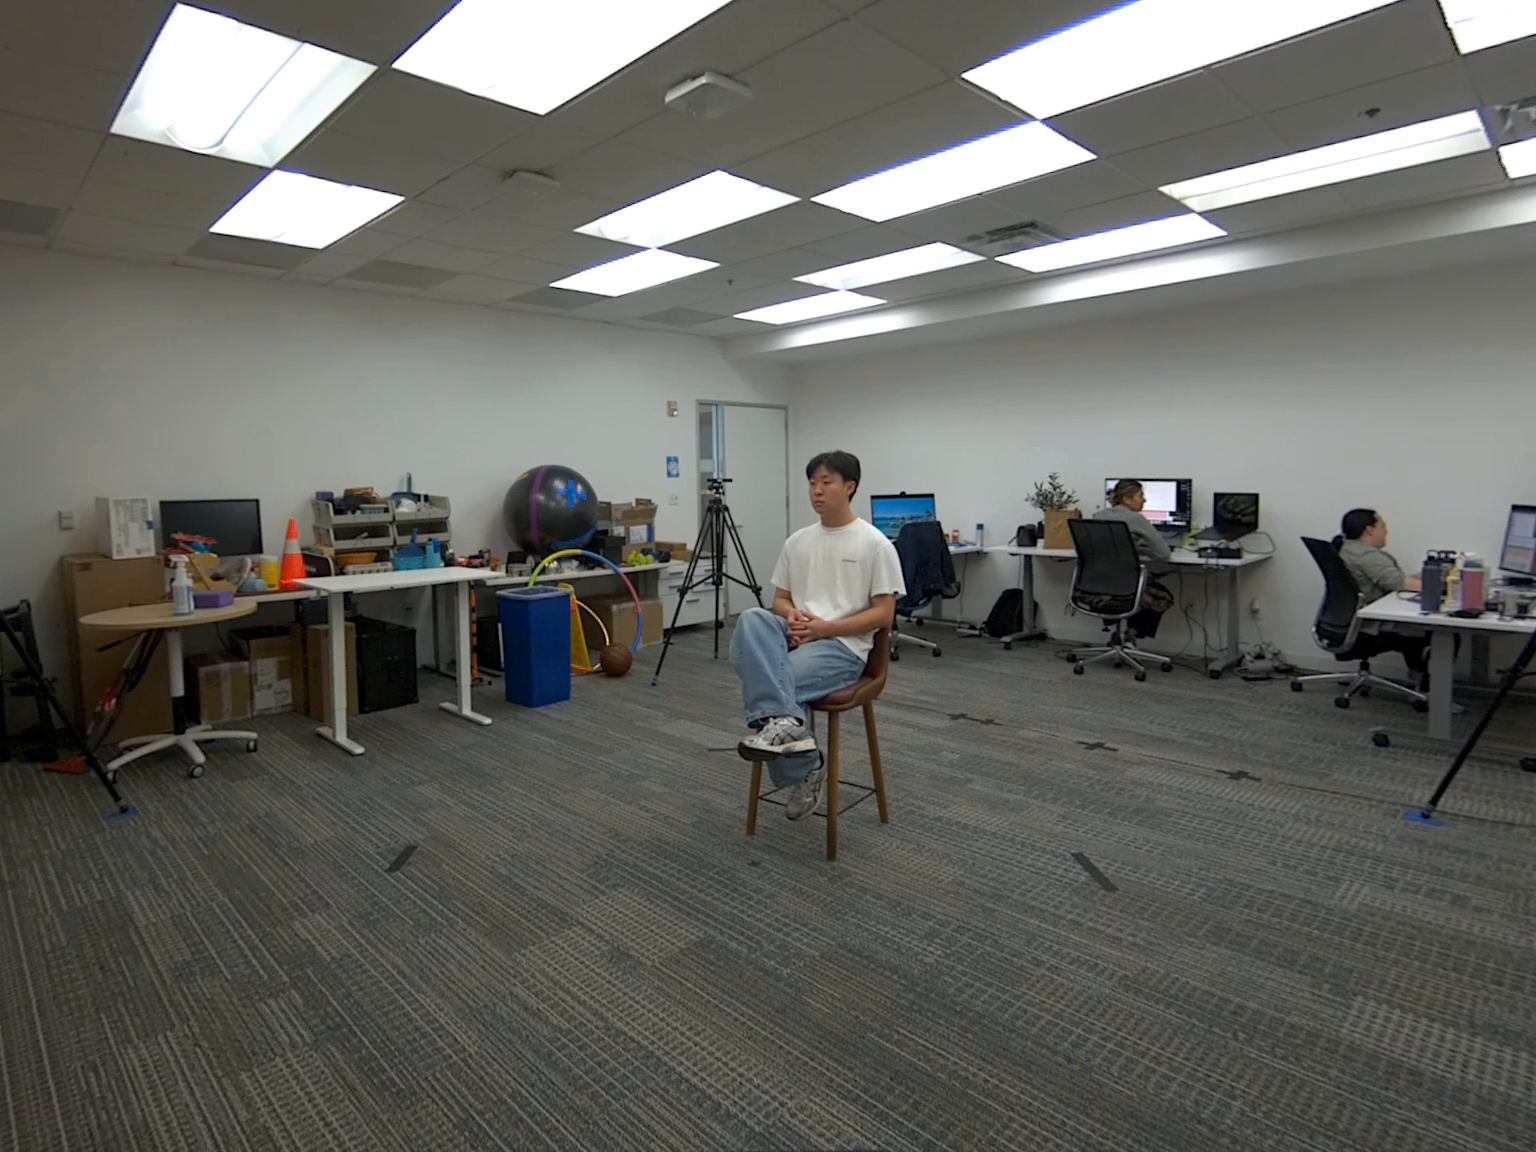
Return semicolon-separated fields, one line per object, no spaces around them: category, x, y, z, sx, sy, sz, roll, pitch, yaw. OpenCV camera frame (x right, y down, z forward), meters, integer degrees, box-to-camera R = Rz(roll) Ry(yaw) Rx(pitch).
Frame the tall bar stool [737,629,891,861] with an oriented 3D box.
tall bar stool;0.215;0.576;3.392;0.470;0.888;0.455;4;3;38
